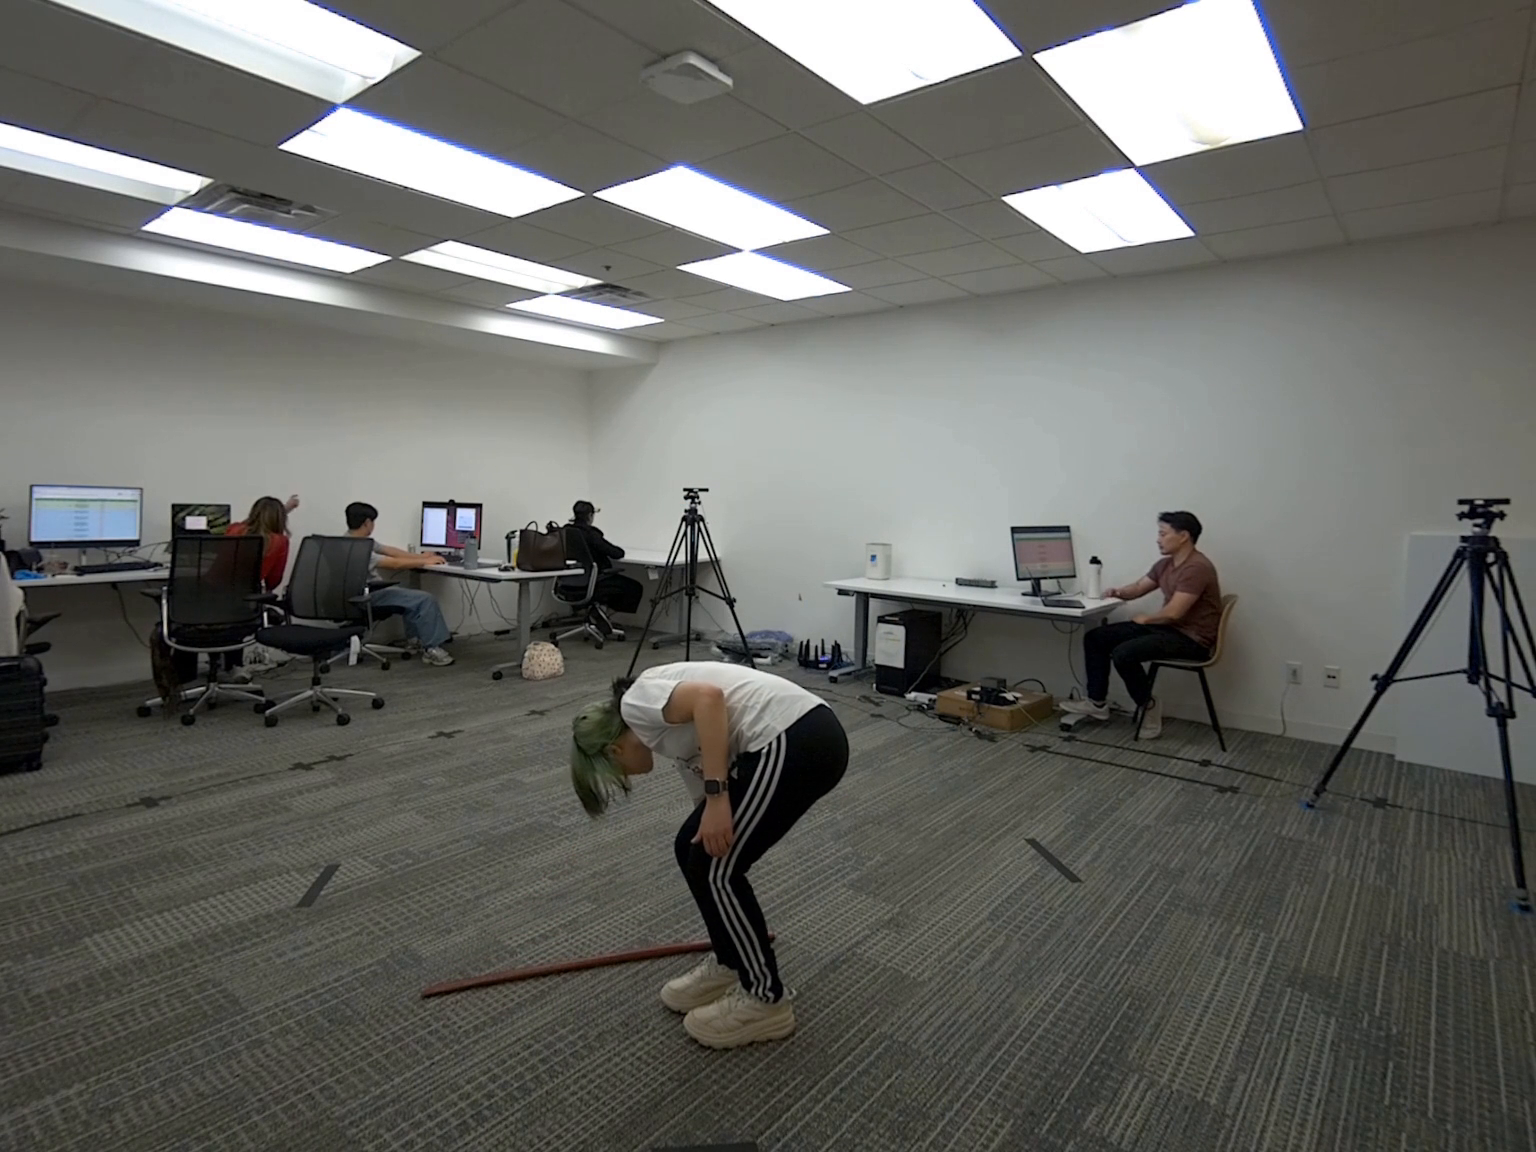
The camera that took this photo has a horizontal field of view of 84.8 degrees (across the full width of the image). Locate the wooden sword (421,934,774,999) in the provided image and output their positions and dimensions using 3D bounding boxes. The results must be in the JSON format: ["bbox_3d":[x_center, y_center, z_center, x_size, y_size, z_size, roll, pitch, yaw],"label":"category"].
[{"bbox_3d":[-0.478,1.110,2.479,1.006,0.053,0.024,-1,-30,-18],"label":"wooden sword"}]
